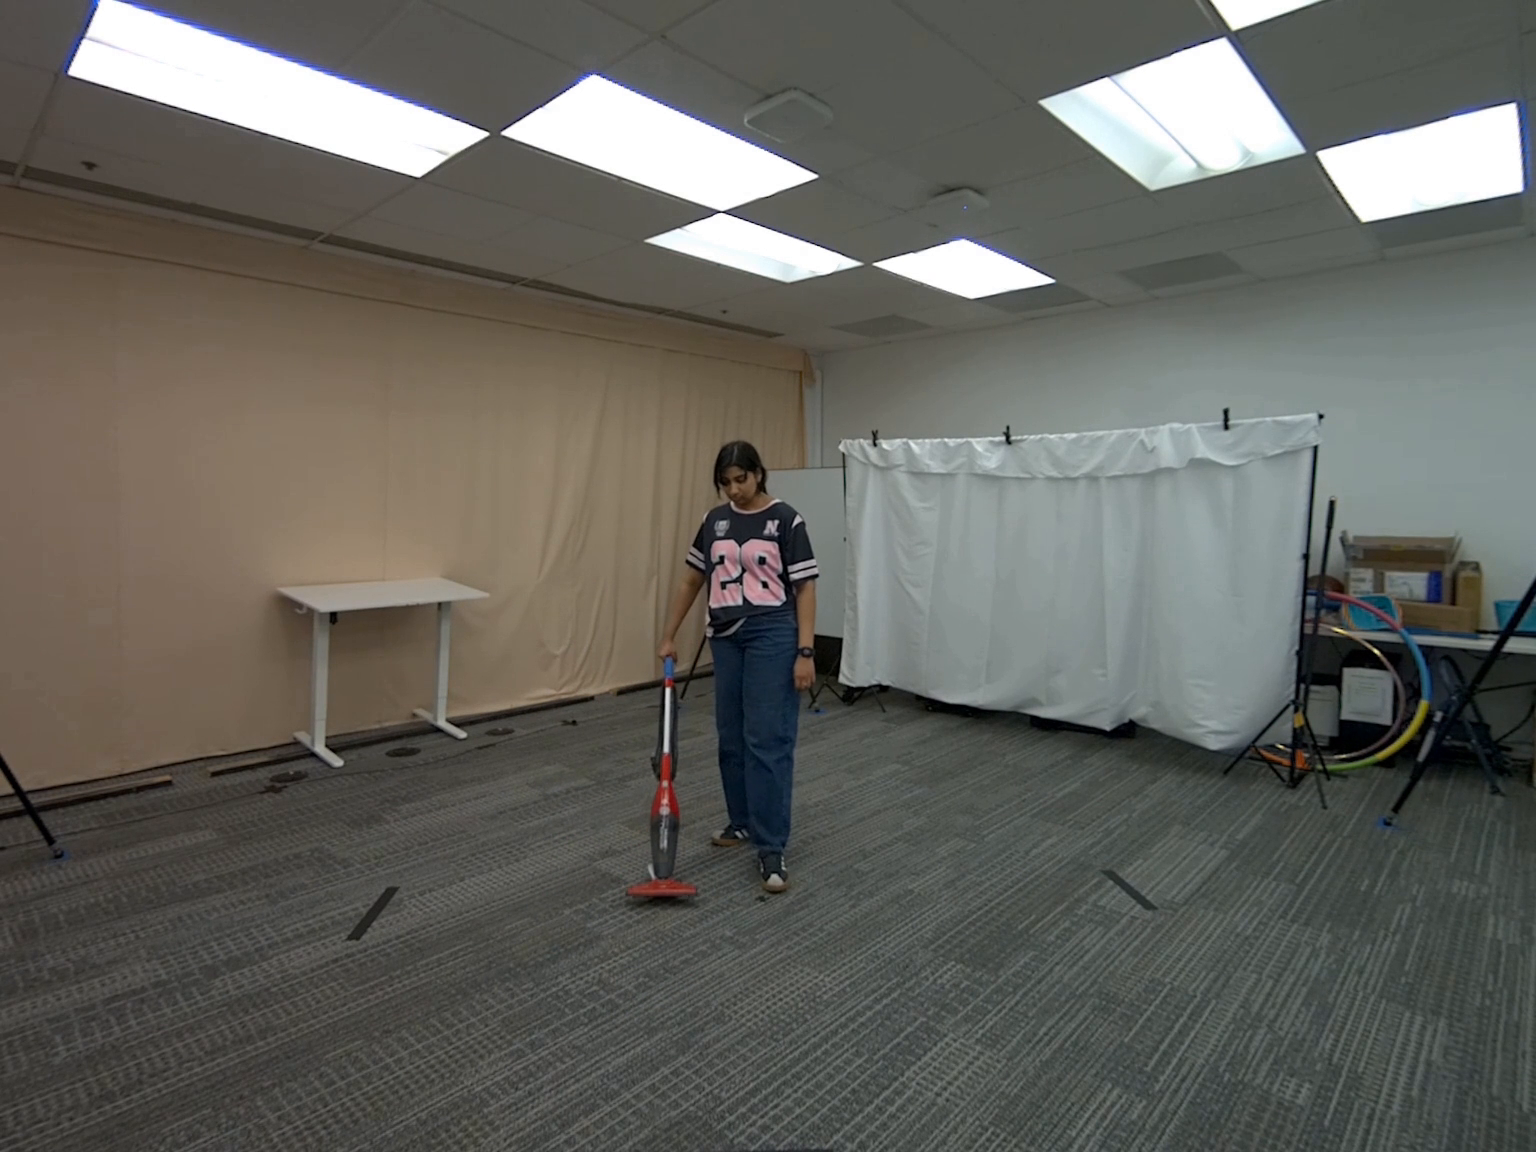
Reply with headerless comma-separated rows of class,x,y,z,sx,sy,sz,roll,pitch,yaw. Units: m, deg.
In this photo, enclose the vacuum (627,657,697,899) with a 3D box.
vacuum,-0.404,0.727,3.314,0.252,1.071,0.141,-2,-41,-3
